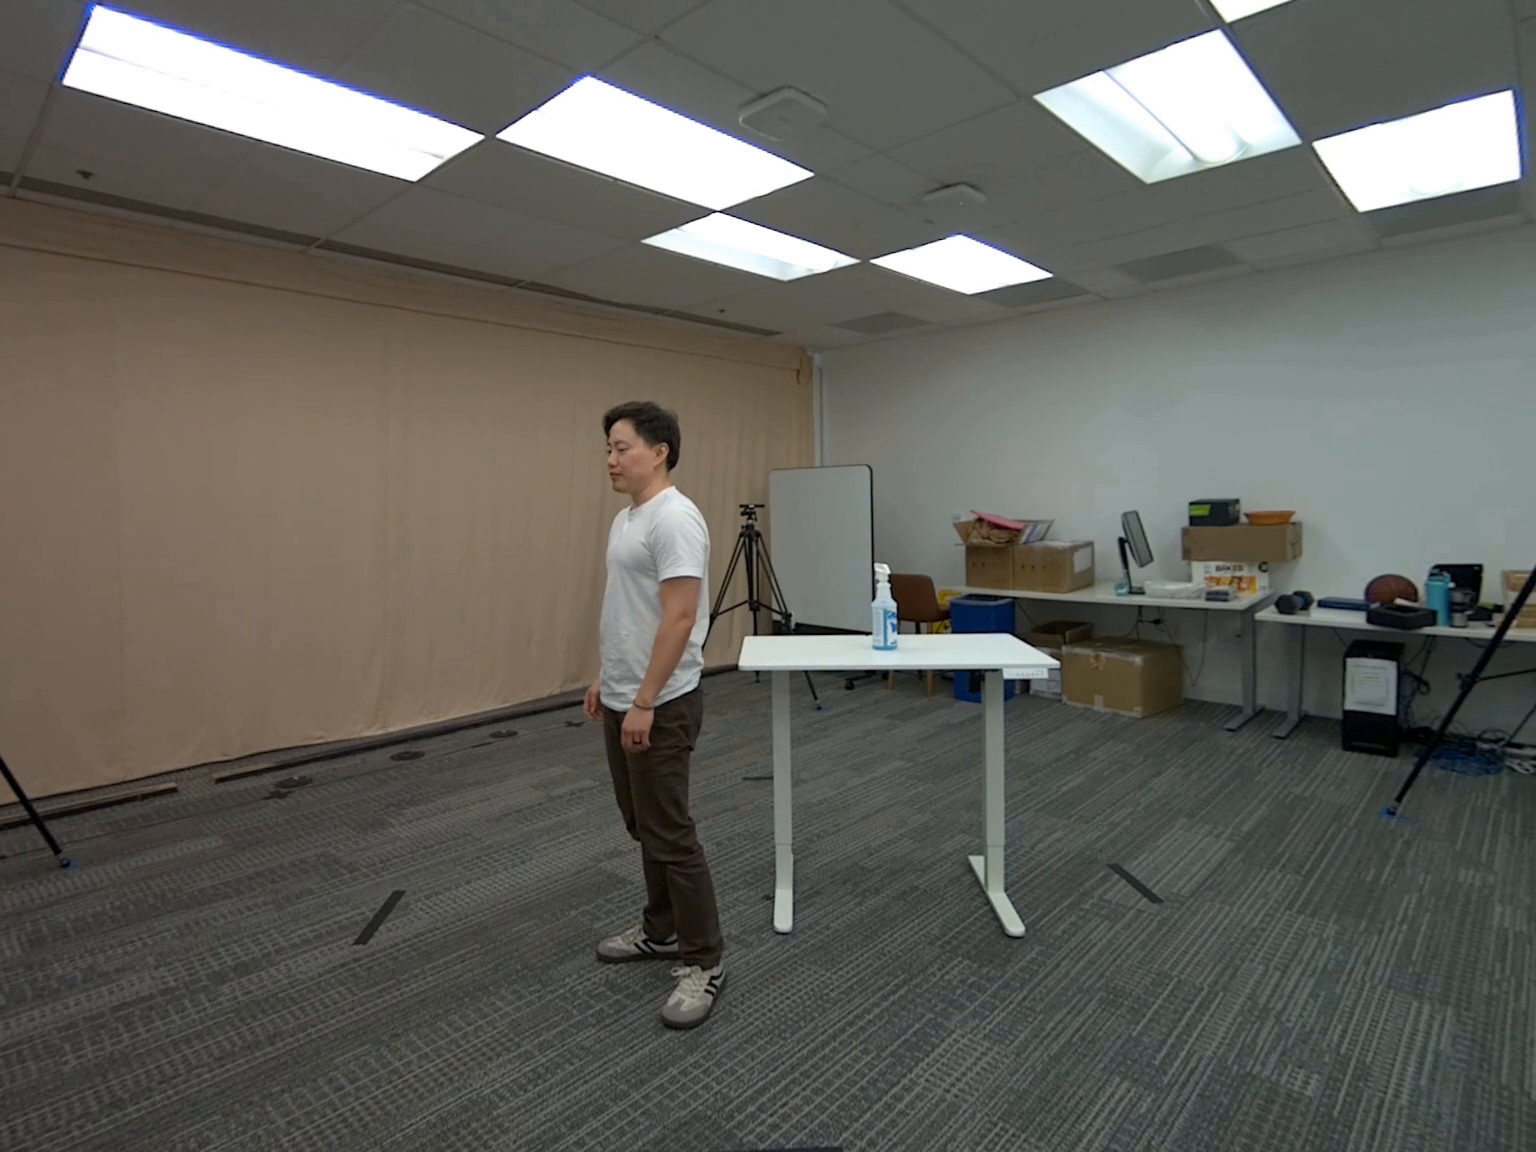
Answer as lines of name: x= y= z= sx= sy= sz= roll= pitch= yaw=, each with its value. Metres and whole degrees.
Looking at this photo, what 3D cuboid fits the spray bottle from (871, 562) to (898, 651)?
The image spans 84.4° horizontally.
spray bottle: x=0.411 y=0.106 z=2.938 sx=0.087 sy=0.297 sz=0.089 roll=-1 pitch=3 yaw=5
